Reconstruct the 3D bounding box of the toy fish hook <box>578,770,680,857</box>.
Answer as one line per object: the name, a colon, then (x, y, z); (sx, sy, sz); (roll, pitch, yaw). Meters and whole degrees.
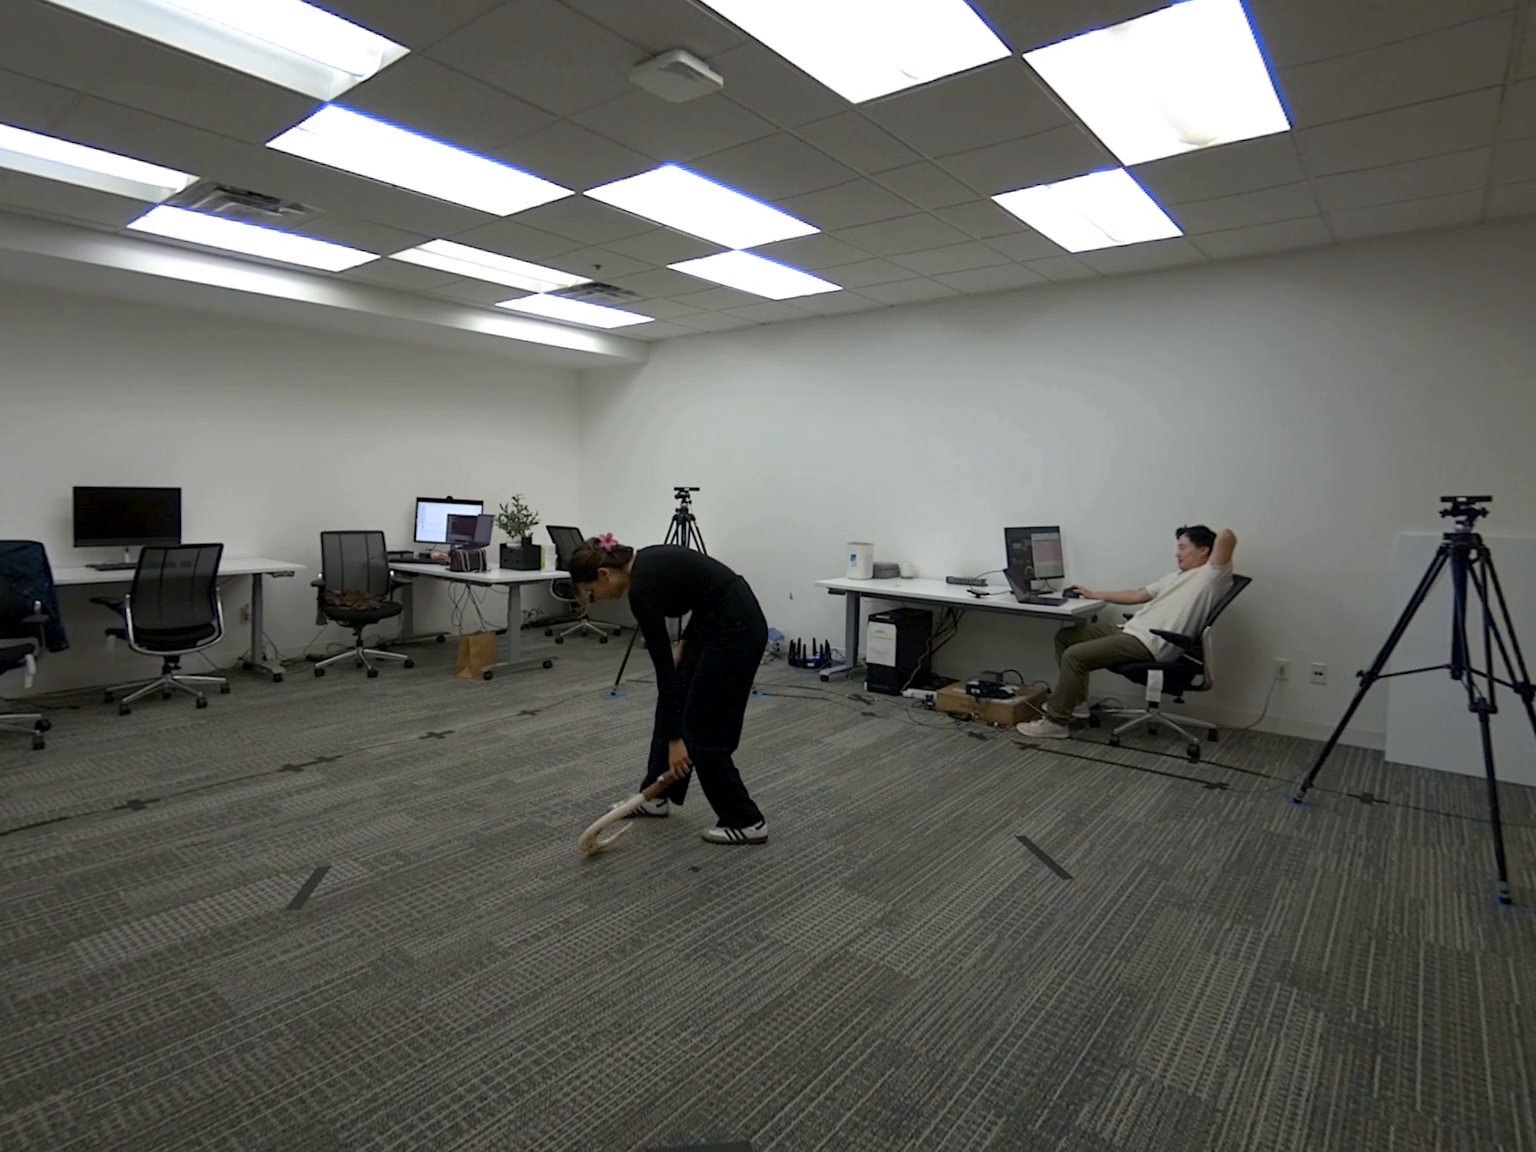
toy fish hook: (-0.507, 0.879, 3.205); (0.506, 0.050, 0.217); (-36, -28, -5)
